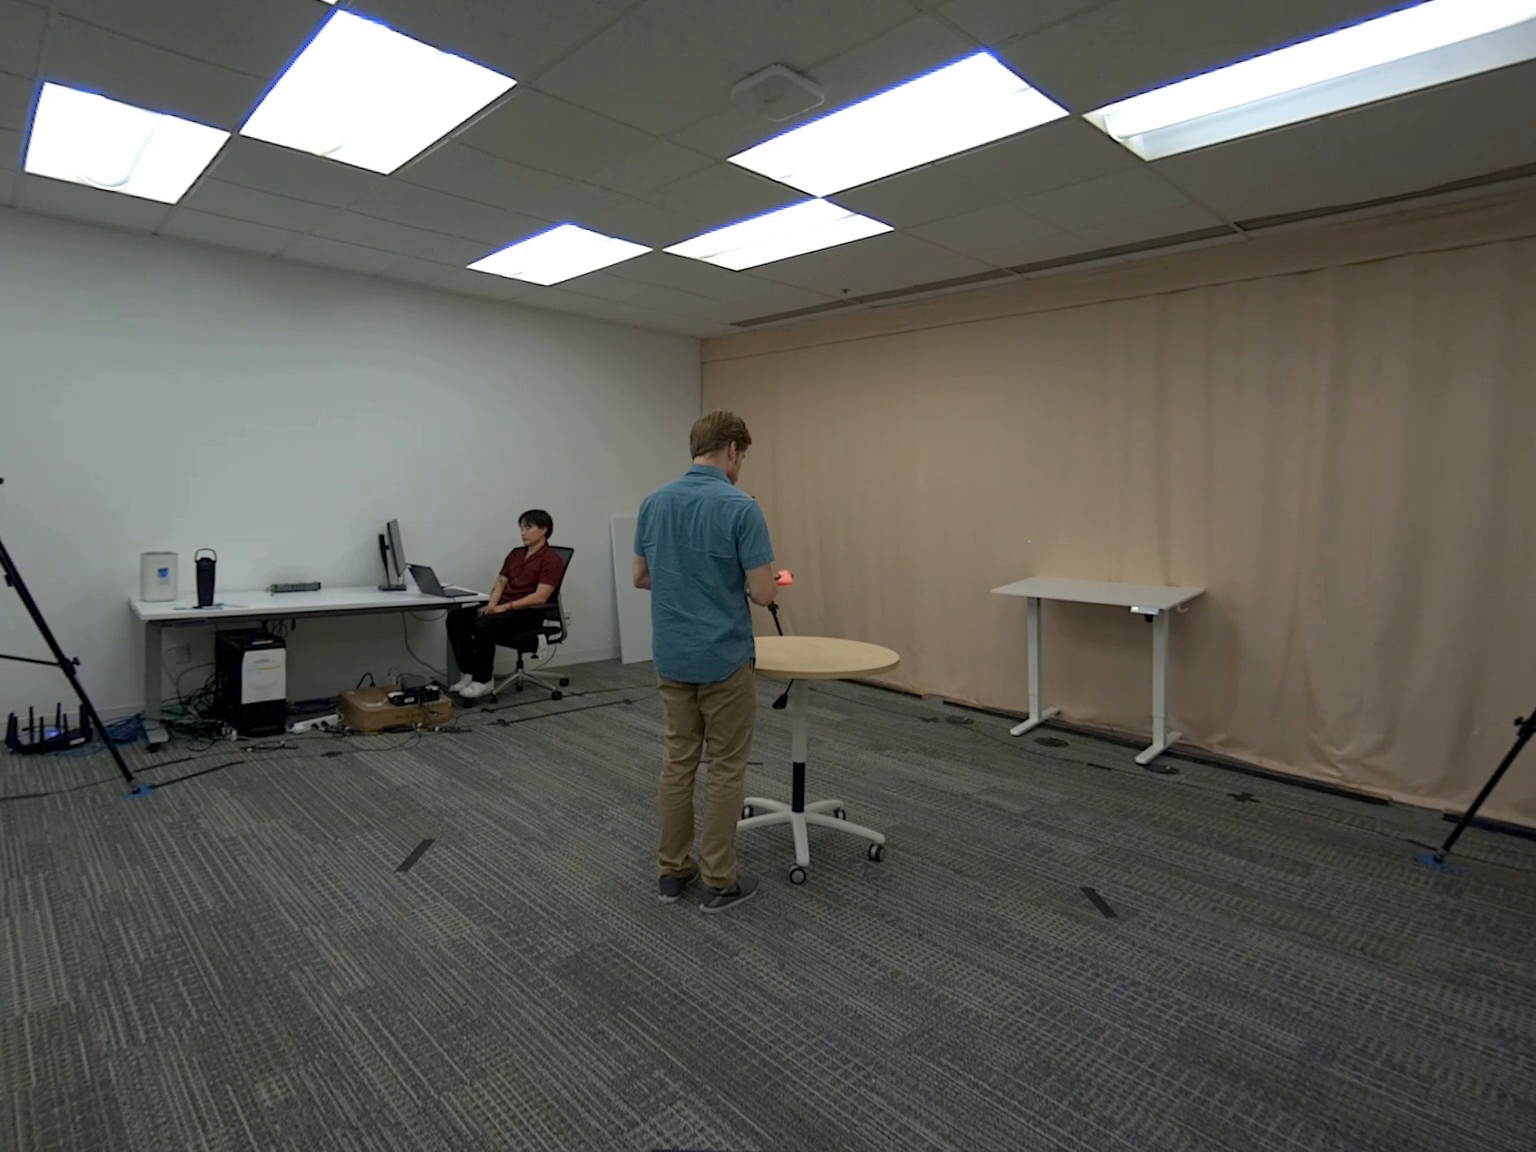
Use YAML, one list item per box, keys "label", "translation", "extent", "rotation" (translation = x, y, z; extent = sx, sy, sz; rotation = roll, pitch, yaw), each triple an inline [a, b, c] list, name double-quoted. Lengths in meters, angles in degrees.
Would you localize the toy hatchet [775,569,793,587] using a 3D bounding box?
- label: "toy hatchet"
  translation: [-0.040, 0.027, 3.137]
  extent: [0.267, 0.029, 0.135]
  rotation: [-16, 28, -23]
